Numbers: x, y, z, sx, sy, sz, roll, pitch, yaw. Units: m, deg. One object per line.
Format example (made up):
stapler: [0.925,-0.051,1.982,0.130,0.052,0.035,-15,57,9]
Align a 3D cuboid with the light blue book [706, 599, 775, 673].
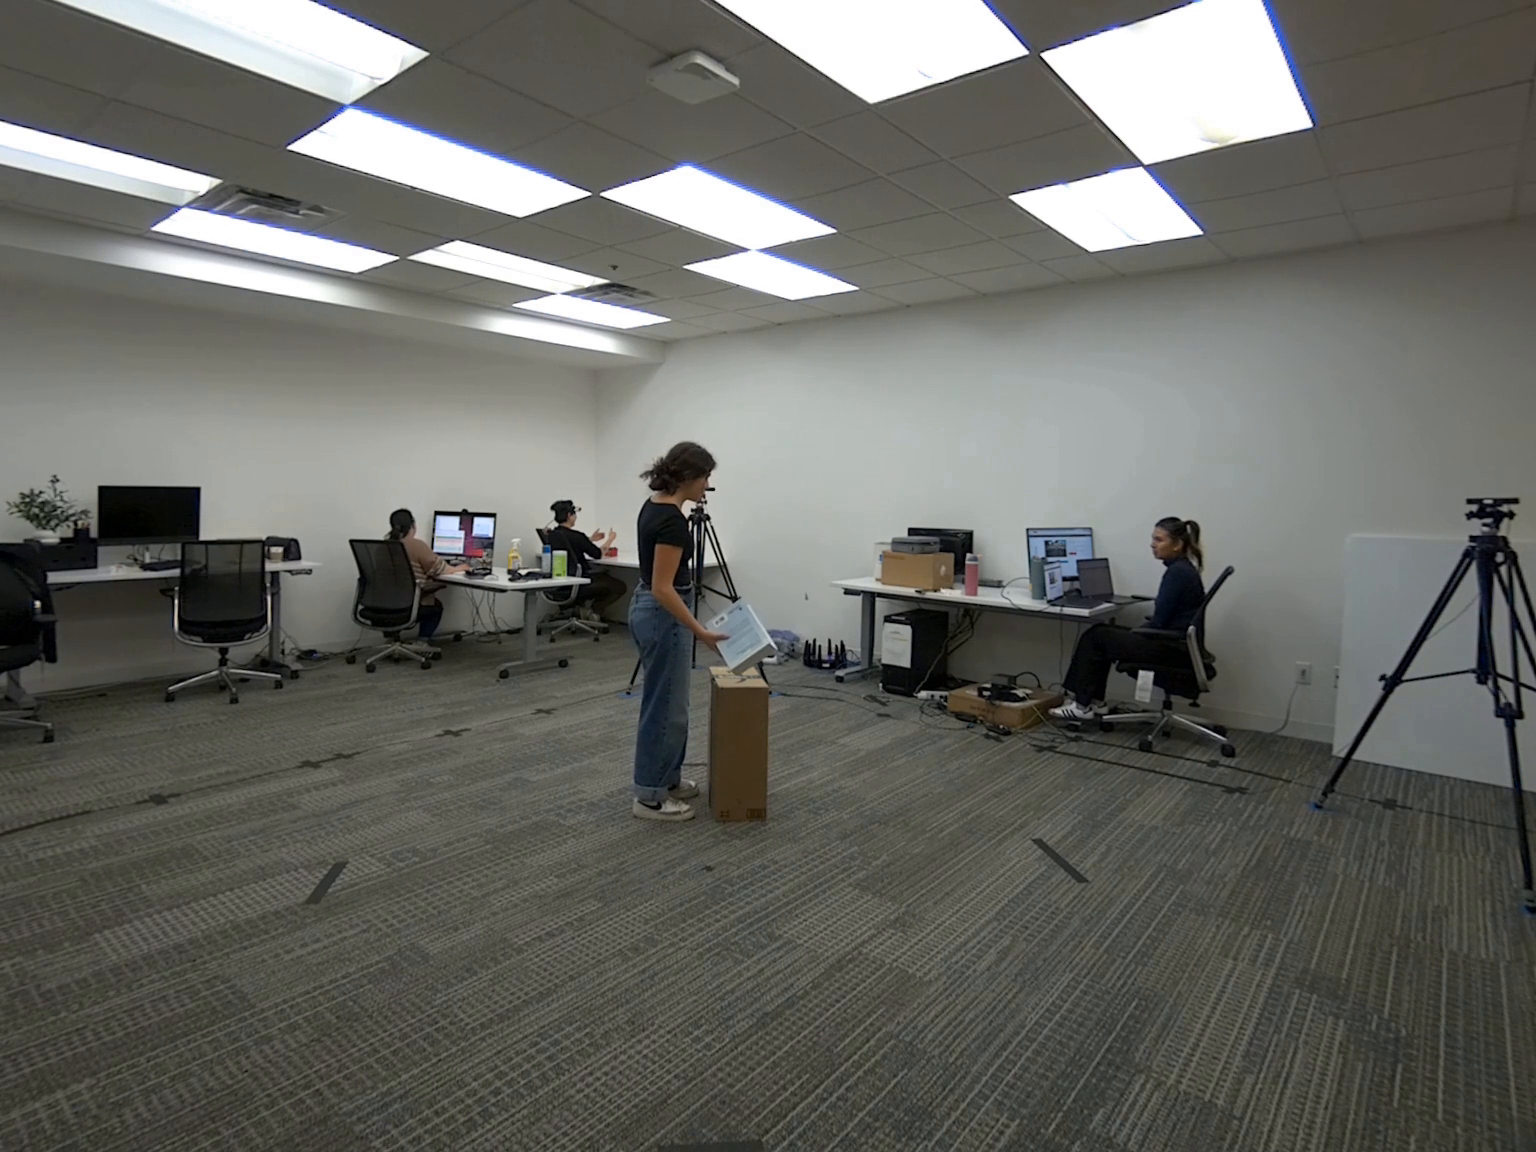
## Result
light blue book: [-0.116,0.232,3.303,0.056,0.191,0.272,52,3,-47]
